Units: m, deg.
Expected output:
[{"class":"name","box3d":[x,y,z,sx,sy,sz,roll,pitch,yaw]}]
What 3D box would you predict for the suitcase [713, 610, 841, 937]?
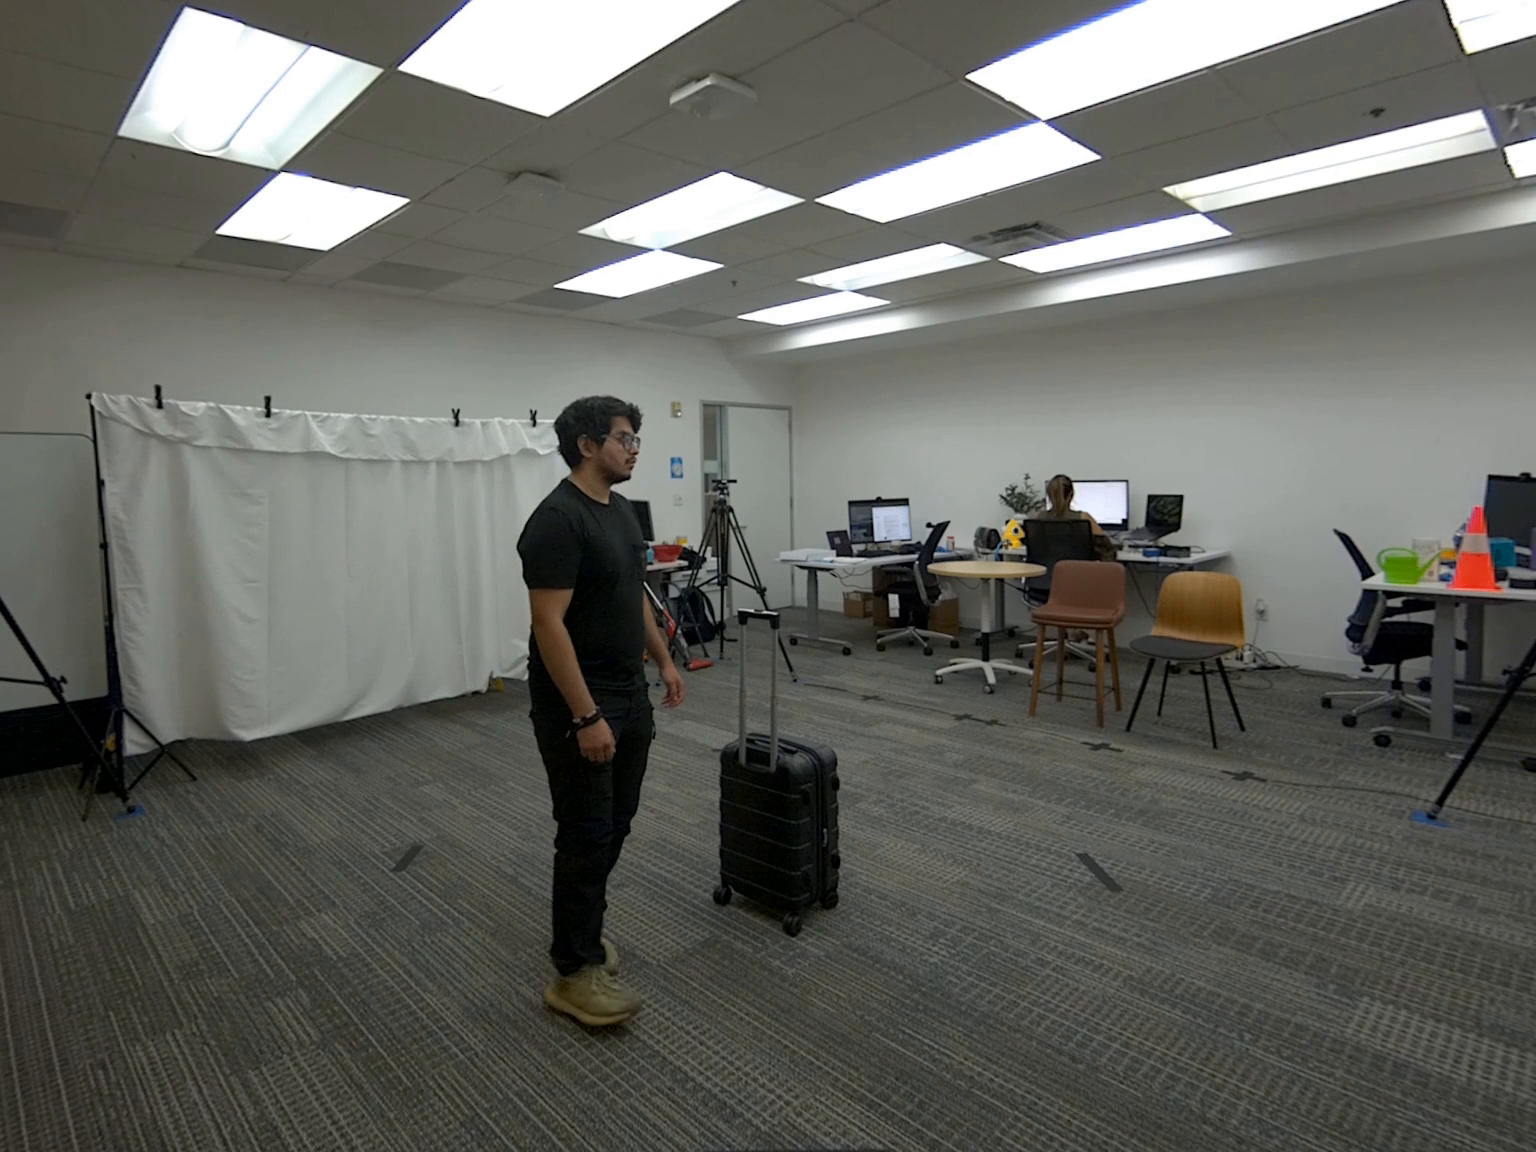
[{"class":"suitcase","box3d":[0.037,0.602,2.803,0.395,0.977,0.250,2,2,41]}]
